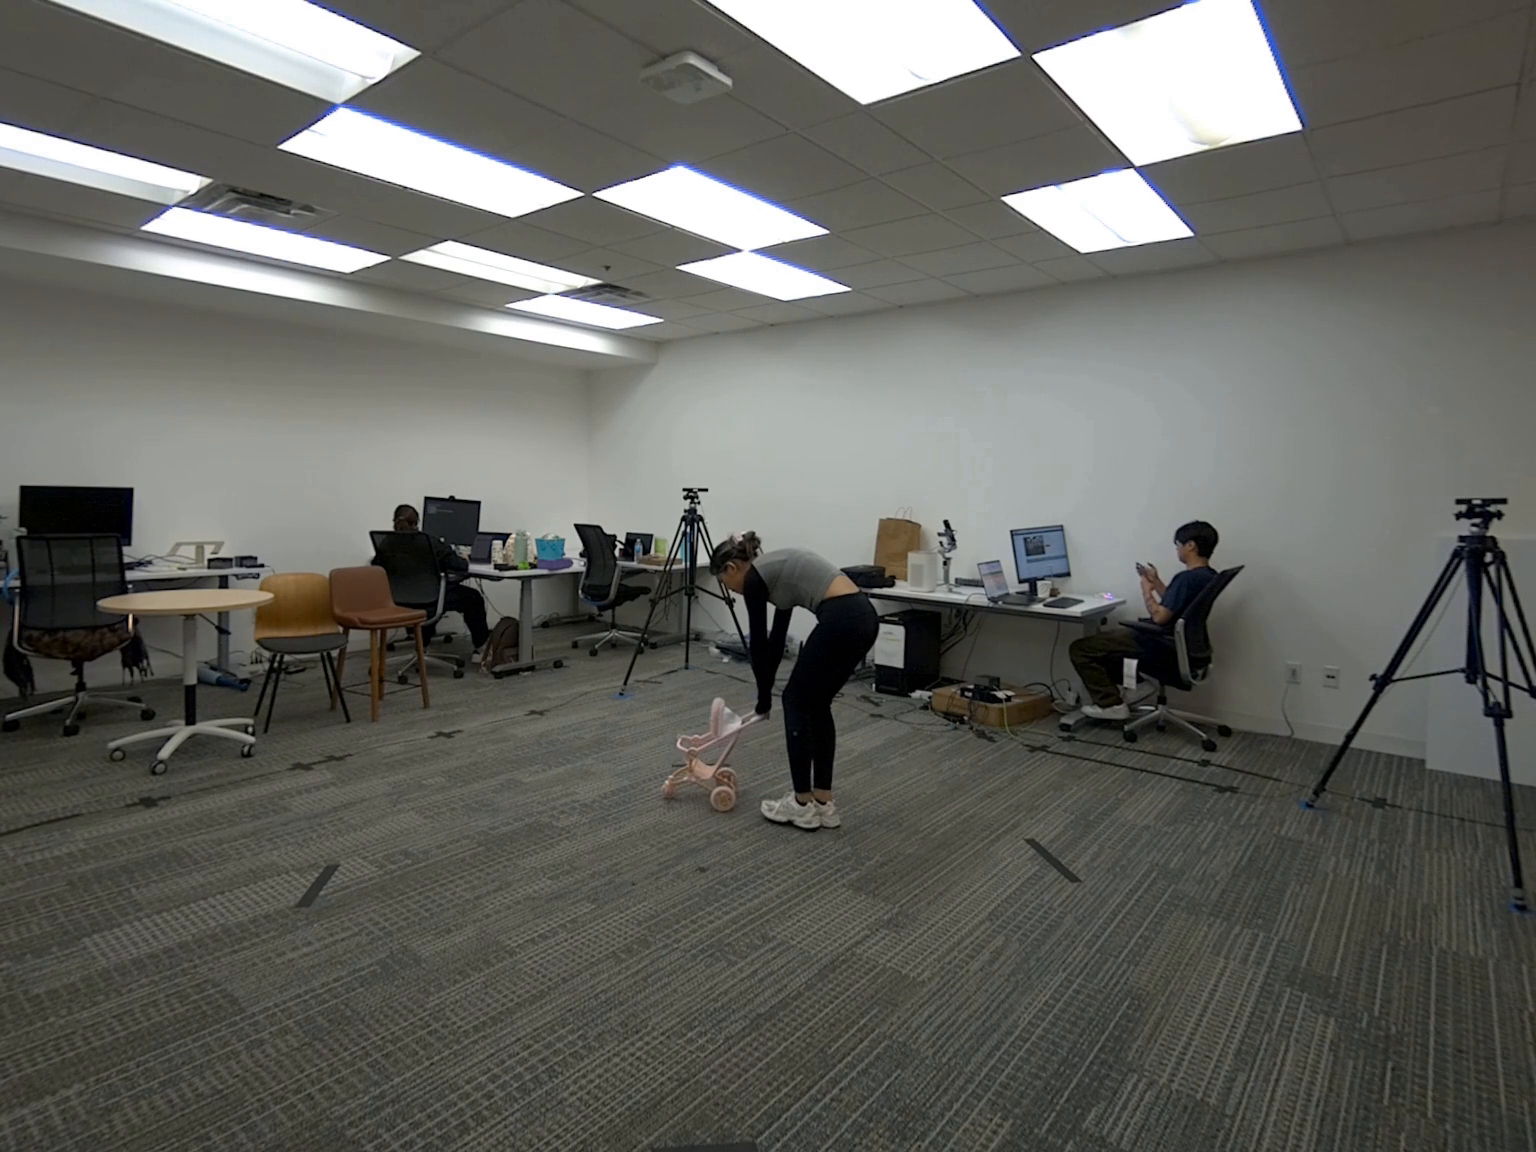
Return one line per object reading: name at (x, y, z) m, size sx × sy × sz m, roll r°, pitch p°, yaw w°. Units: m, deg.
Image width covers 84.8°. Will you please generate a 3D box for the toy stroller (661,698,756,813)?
toy stroller at (-0.261, 0.779, 3.799) m, size 0.344 × 0.533 × 0.280 m, roll 18°, pitch 4°, yaw 5°
